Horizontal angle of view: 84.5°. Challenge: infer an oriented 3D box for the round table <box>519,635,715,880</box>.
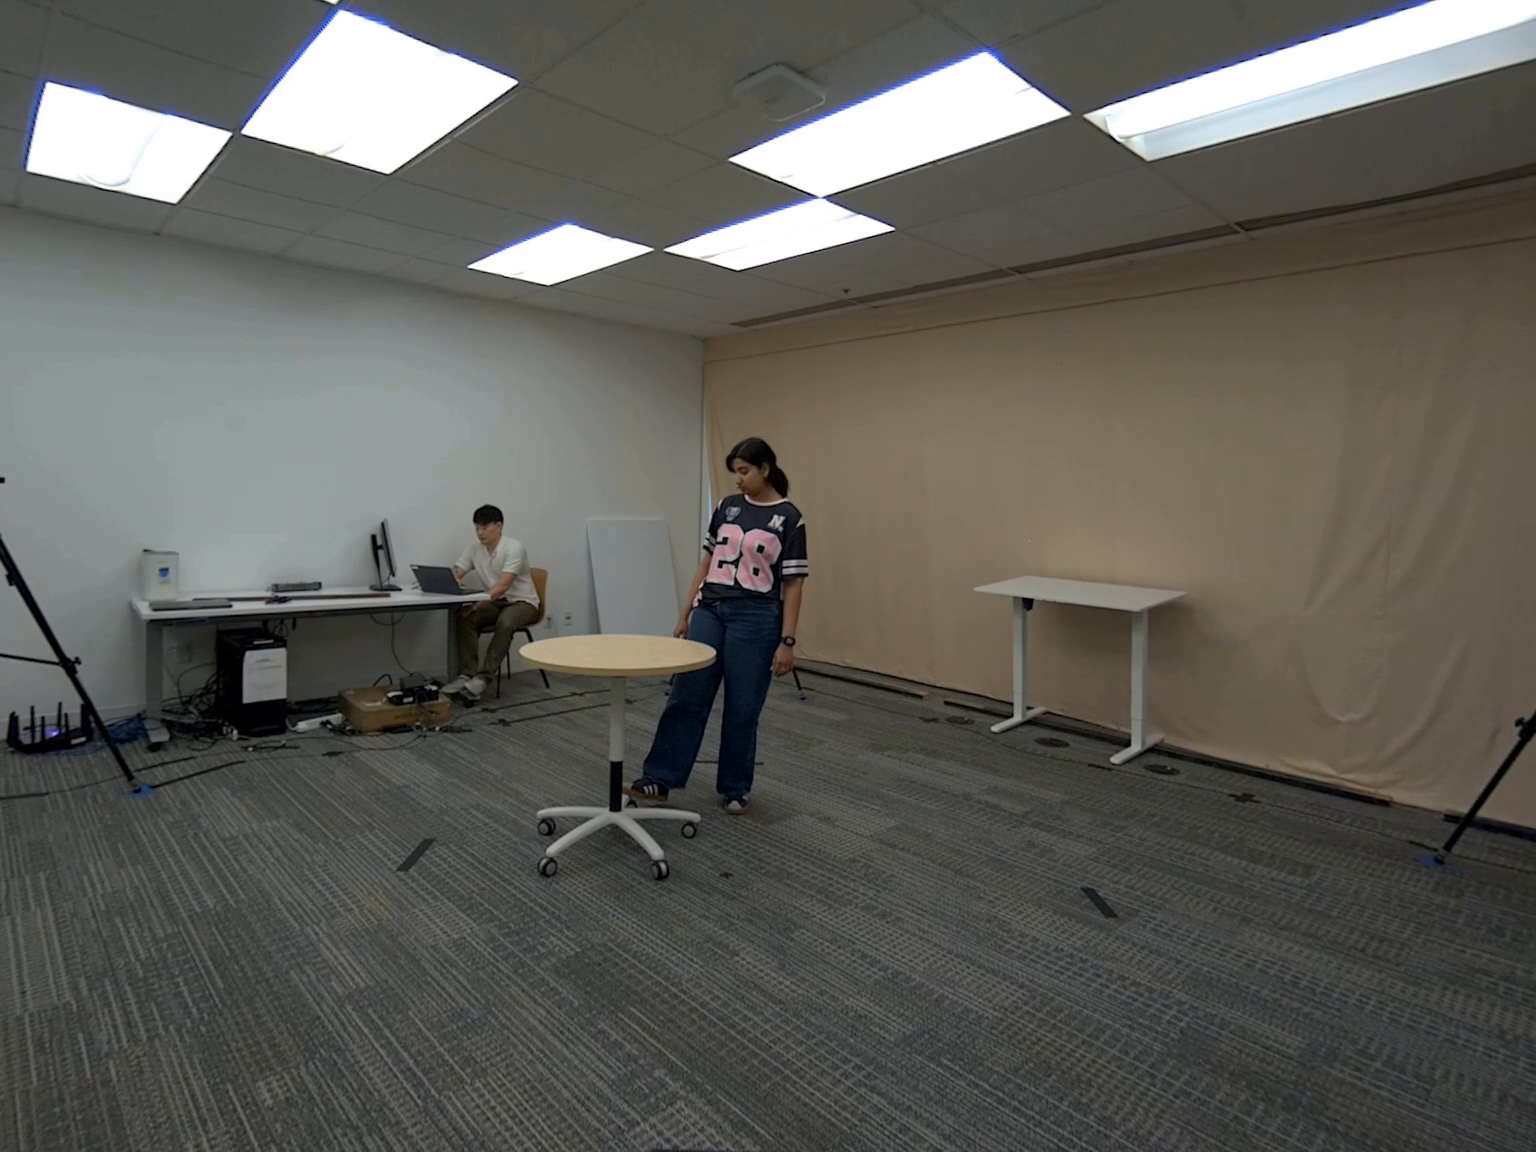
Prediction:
[{"bbox_3d":[-0.614,0.687,3.326,0.763,0.792,0.766,2,4,-1],"label":"round table"}]
